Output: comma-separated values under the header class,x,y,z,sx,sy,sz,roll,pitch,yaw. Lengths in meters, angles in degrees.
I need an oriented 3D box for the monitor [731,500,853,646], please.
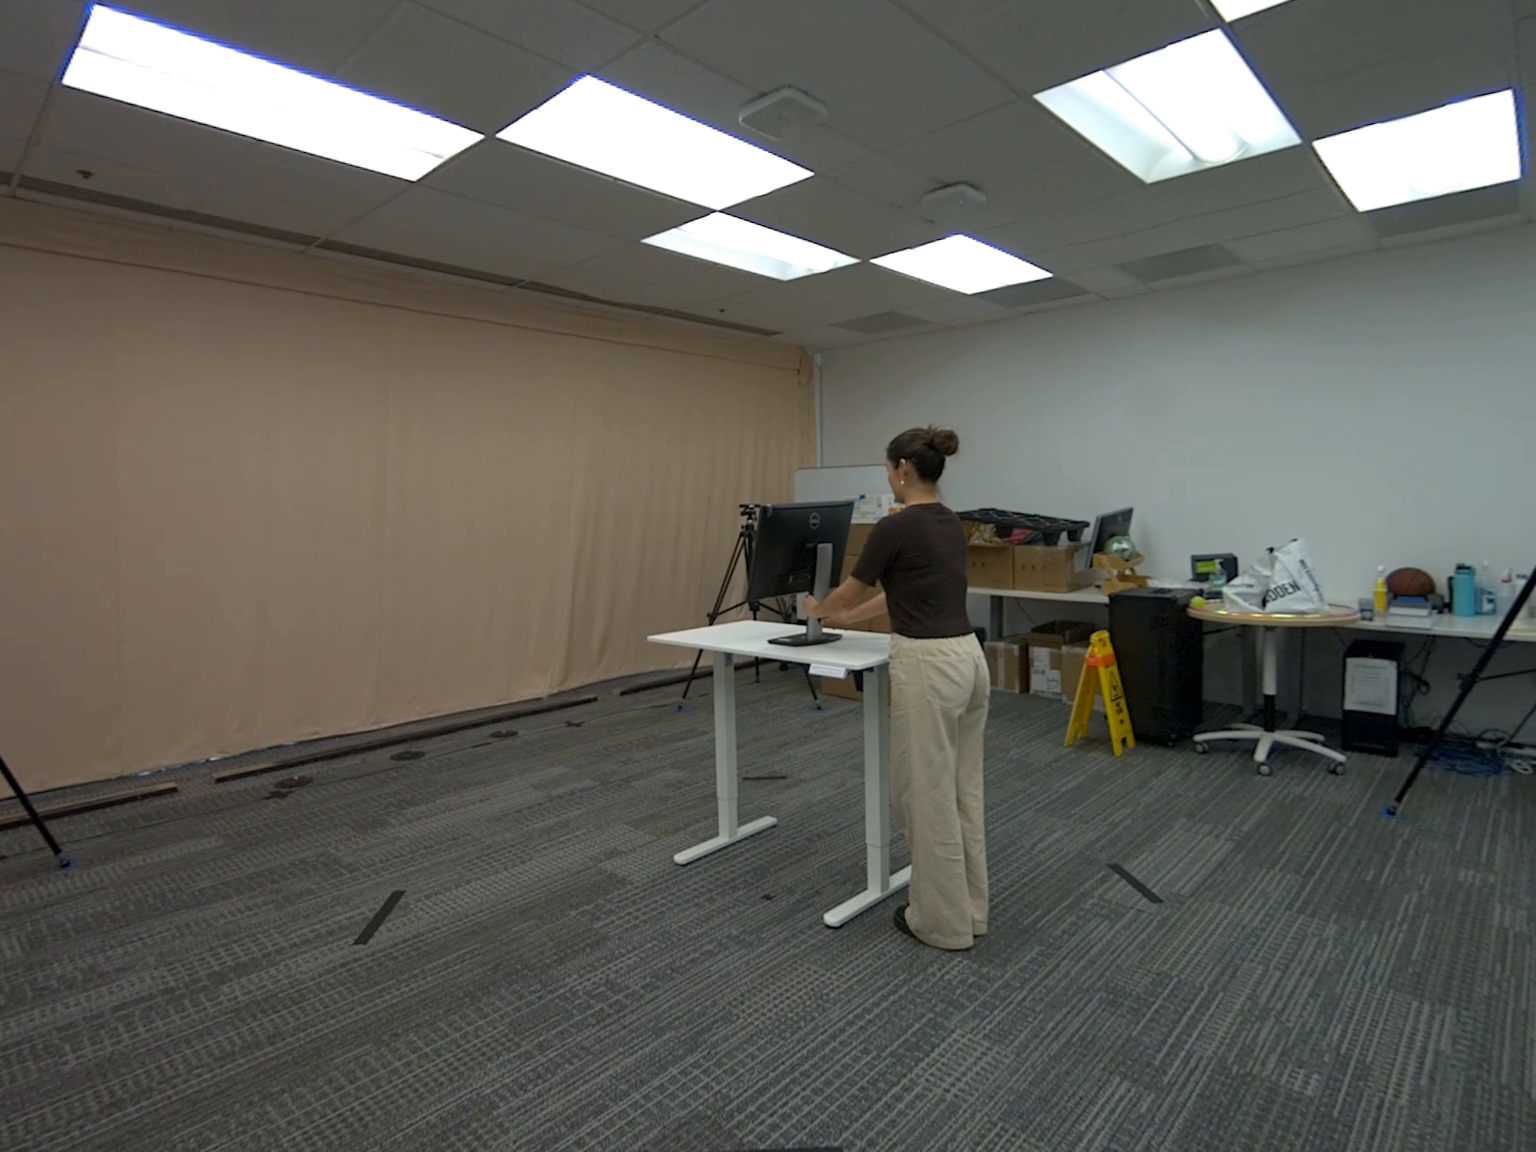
class,x,y,z,sx,sy,sz,roll,pitch,yaw
monitor,0.153,-0.013,3.111,0.180,0.515,0.514,-2,4,42
